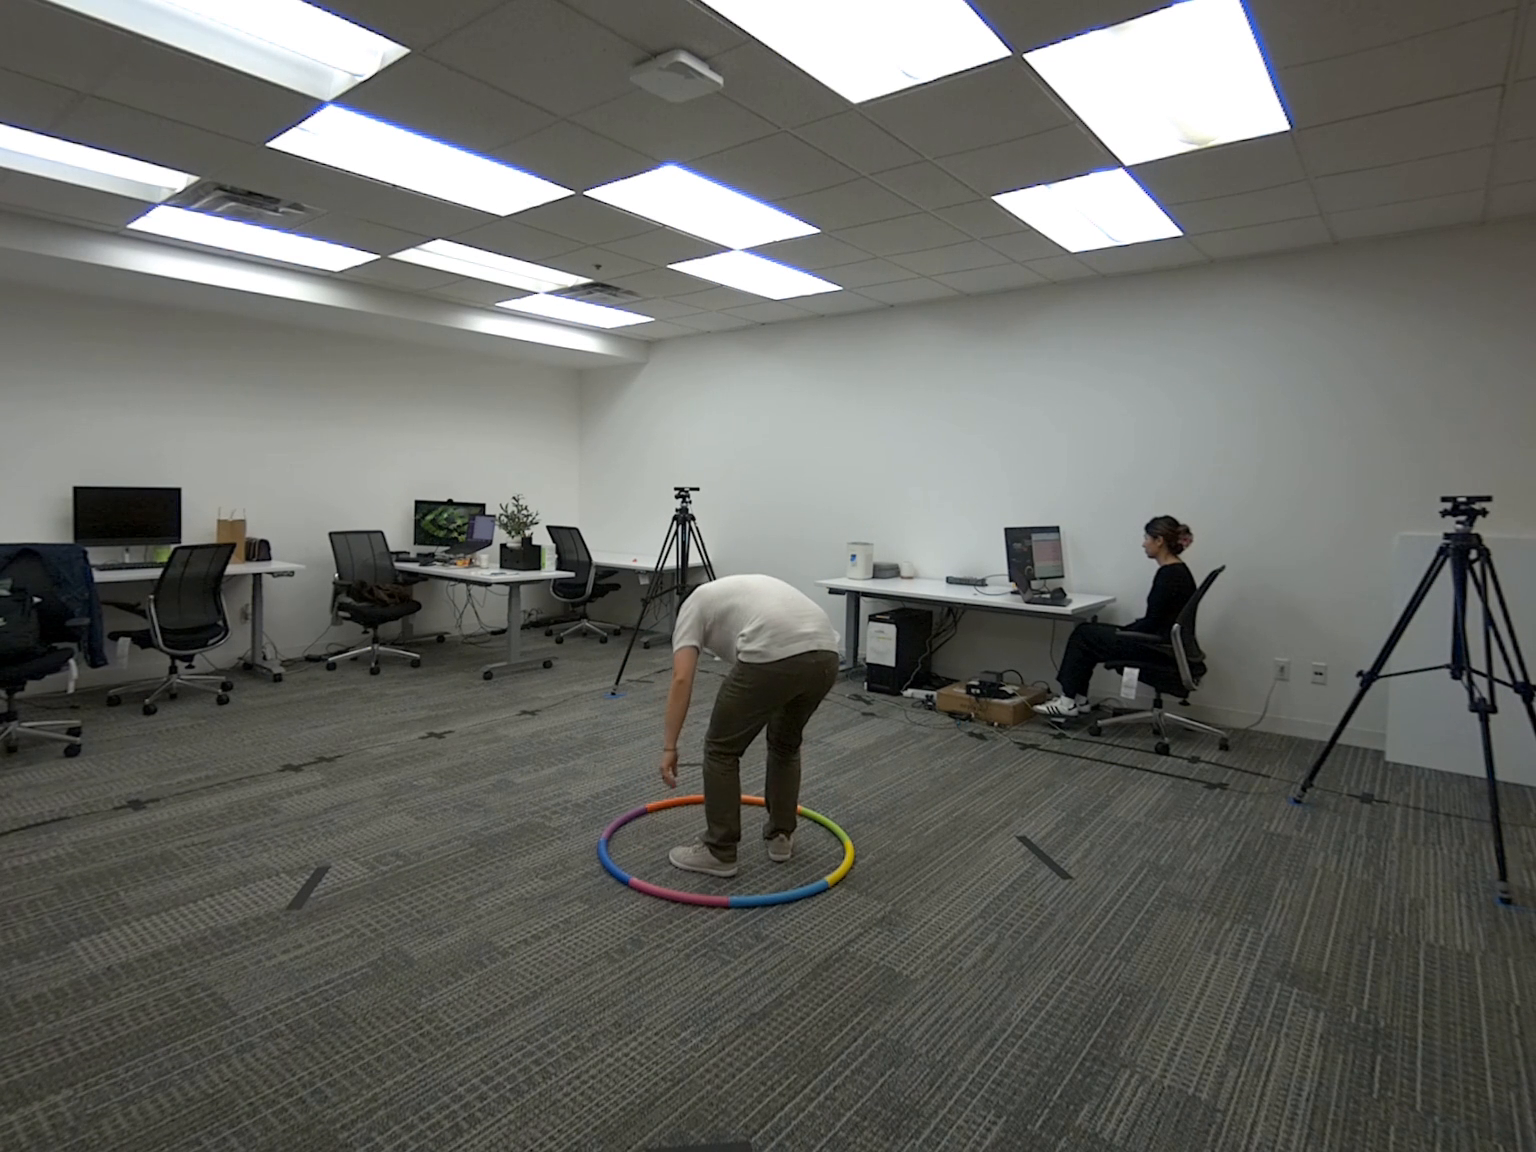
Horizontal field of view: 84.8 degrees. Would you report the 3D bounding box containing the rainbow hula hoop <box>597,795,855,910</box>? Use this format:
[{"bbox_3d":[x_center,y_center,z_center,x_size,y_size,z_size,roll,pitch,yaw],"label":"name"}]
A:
[{"bbox_3d":[-0.175,1.019,3.294,0.978,0.035,0.984,0,6,-2],"label":"rainbow hula hoop"}]
